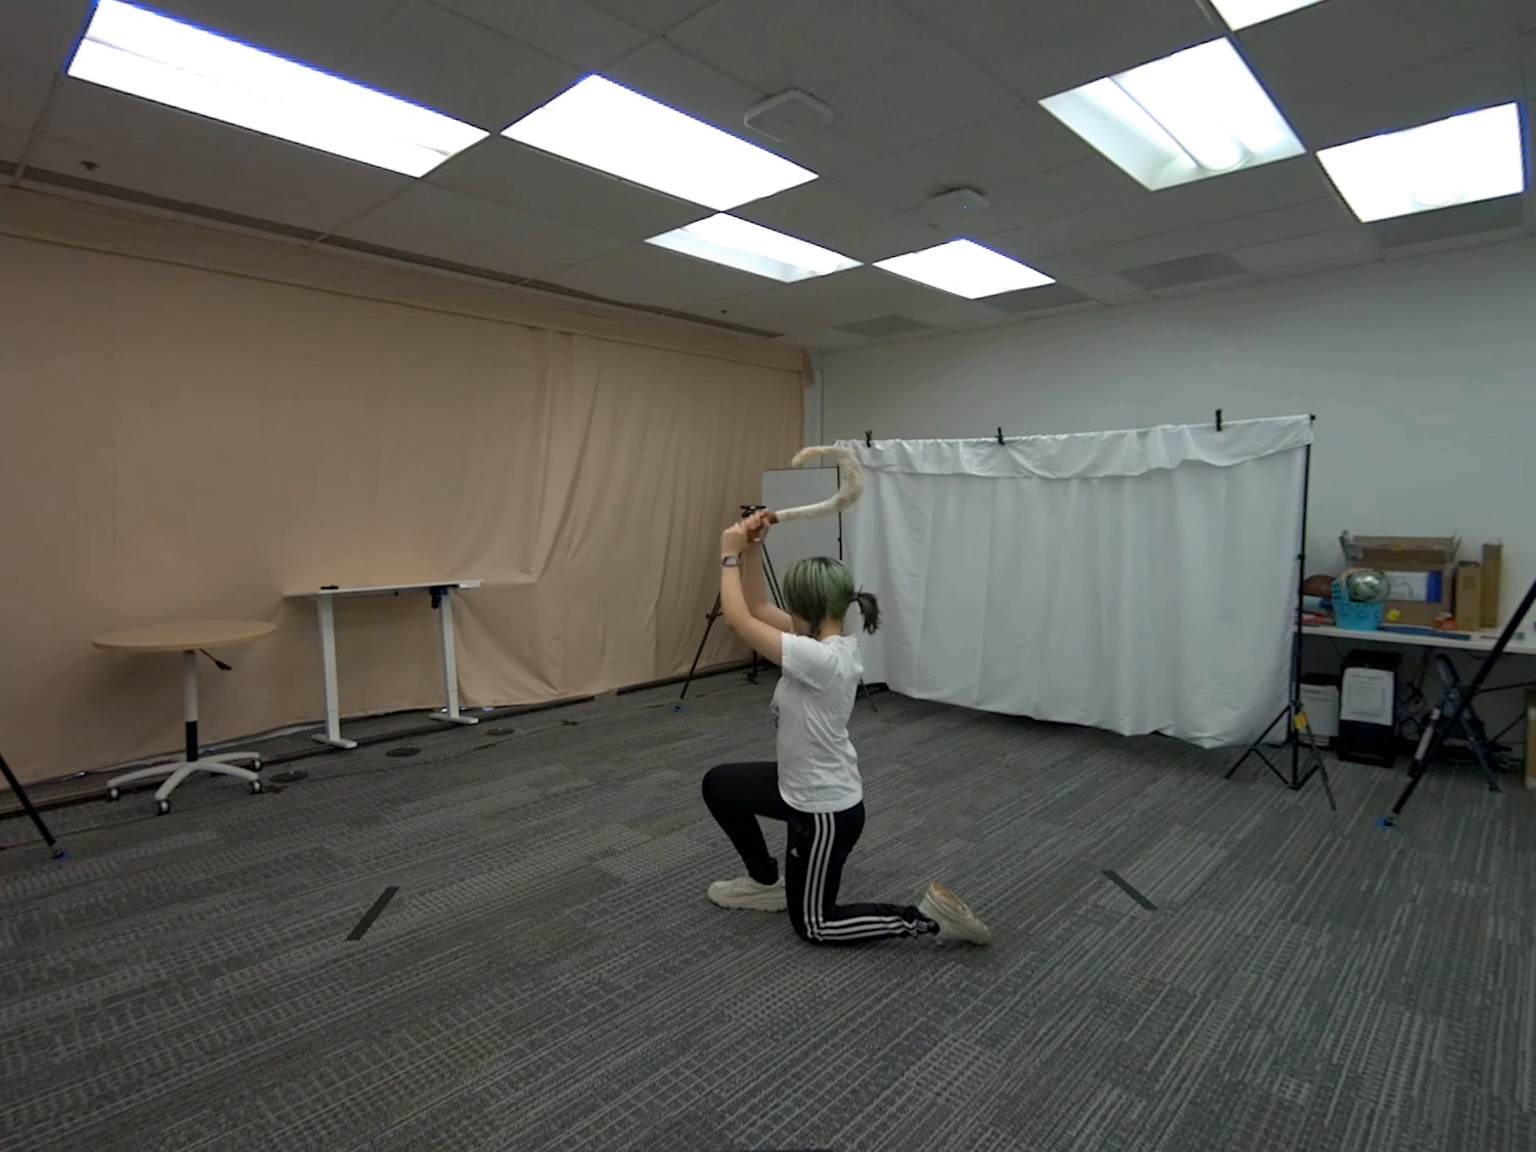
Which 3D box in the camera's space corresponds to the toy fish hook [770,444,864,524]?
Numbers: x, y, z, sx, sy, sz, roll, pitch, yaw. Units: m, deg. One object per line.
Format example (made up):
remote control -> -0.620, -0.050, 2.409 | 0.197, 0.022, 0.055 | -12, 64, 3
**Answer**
toy fish hook -> 0.050, -0.243, 2.679 | 0.509, 0.226, 0.048 | -21, -5, 7
